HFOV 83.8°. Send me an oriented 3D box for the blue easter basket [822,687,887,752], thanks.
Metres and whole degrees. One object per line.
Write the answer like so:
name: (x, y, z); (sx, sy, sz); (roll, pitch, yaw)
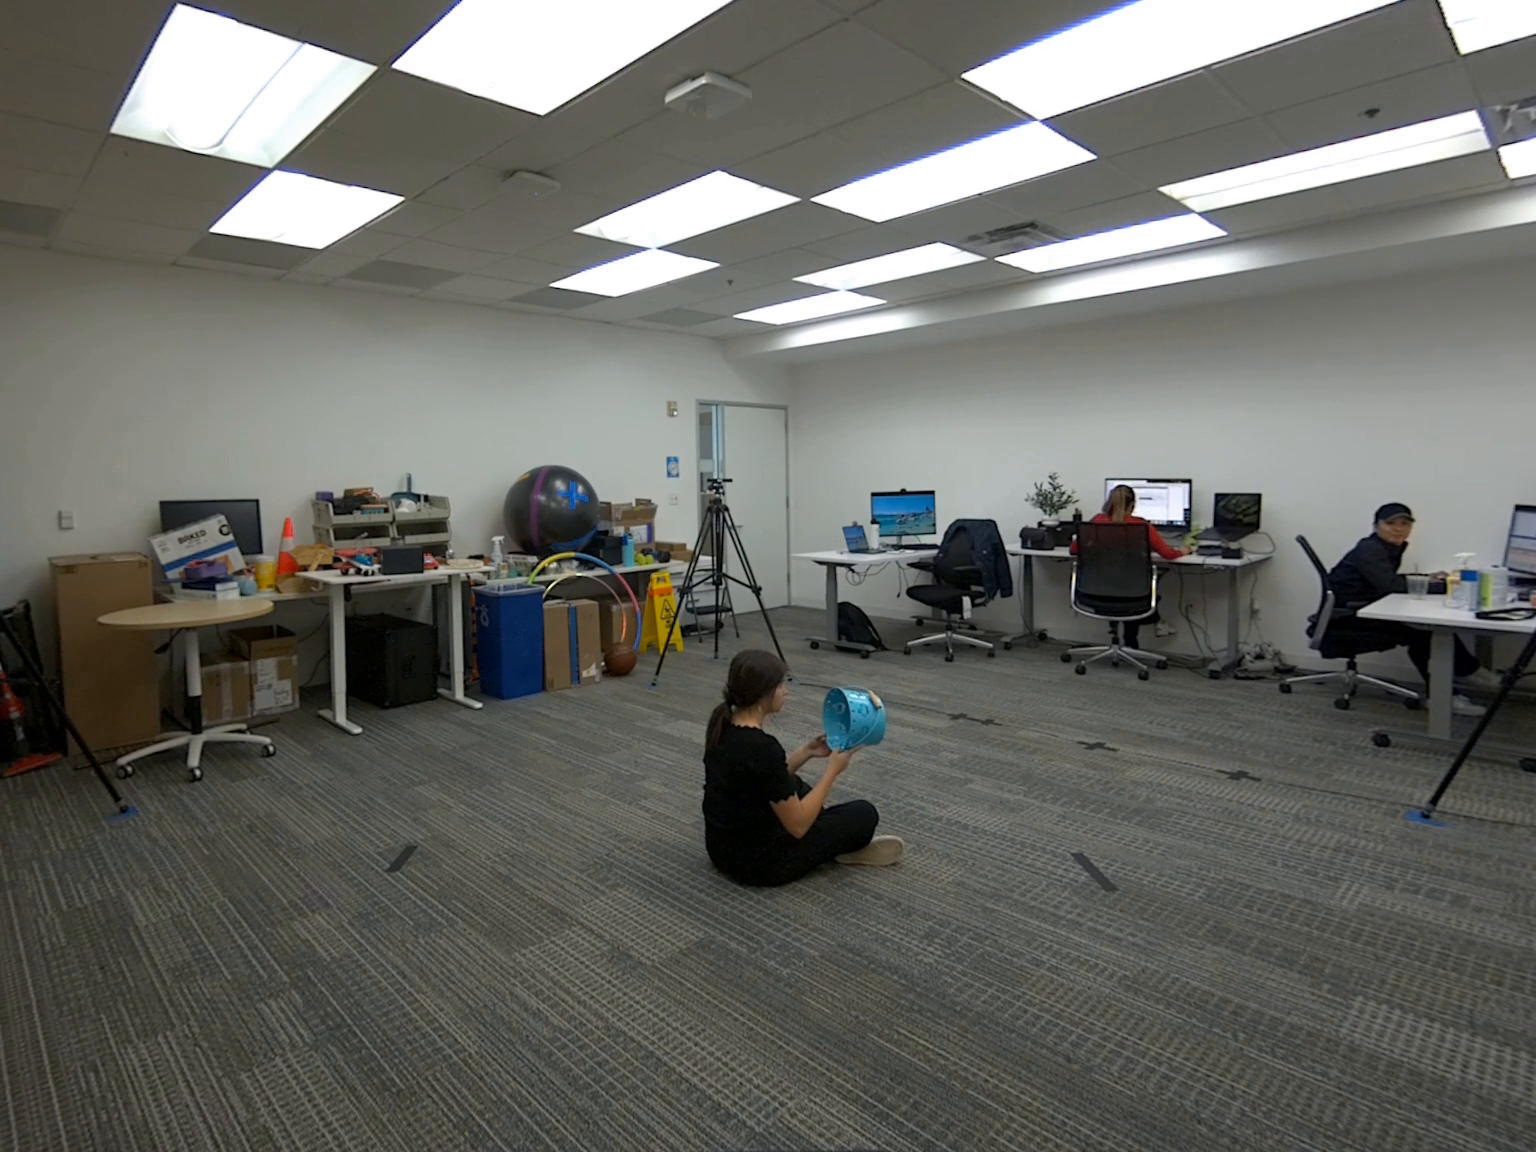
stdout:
blue easter basket: (0.313, 0.517, 3.082); (0.153, 0.243, 0.249); (4, 3, -20)
